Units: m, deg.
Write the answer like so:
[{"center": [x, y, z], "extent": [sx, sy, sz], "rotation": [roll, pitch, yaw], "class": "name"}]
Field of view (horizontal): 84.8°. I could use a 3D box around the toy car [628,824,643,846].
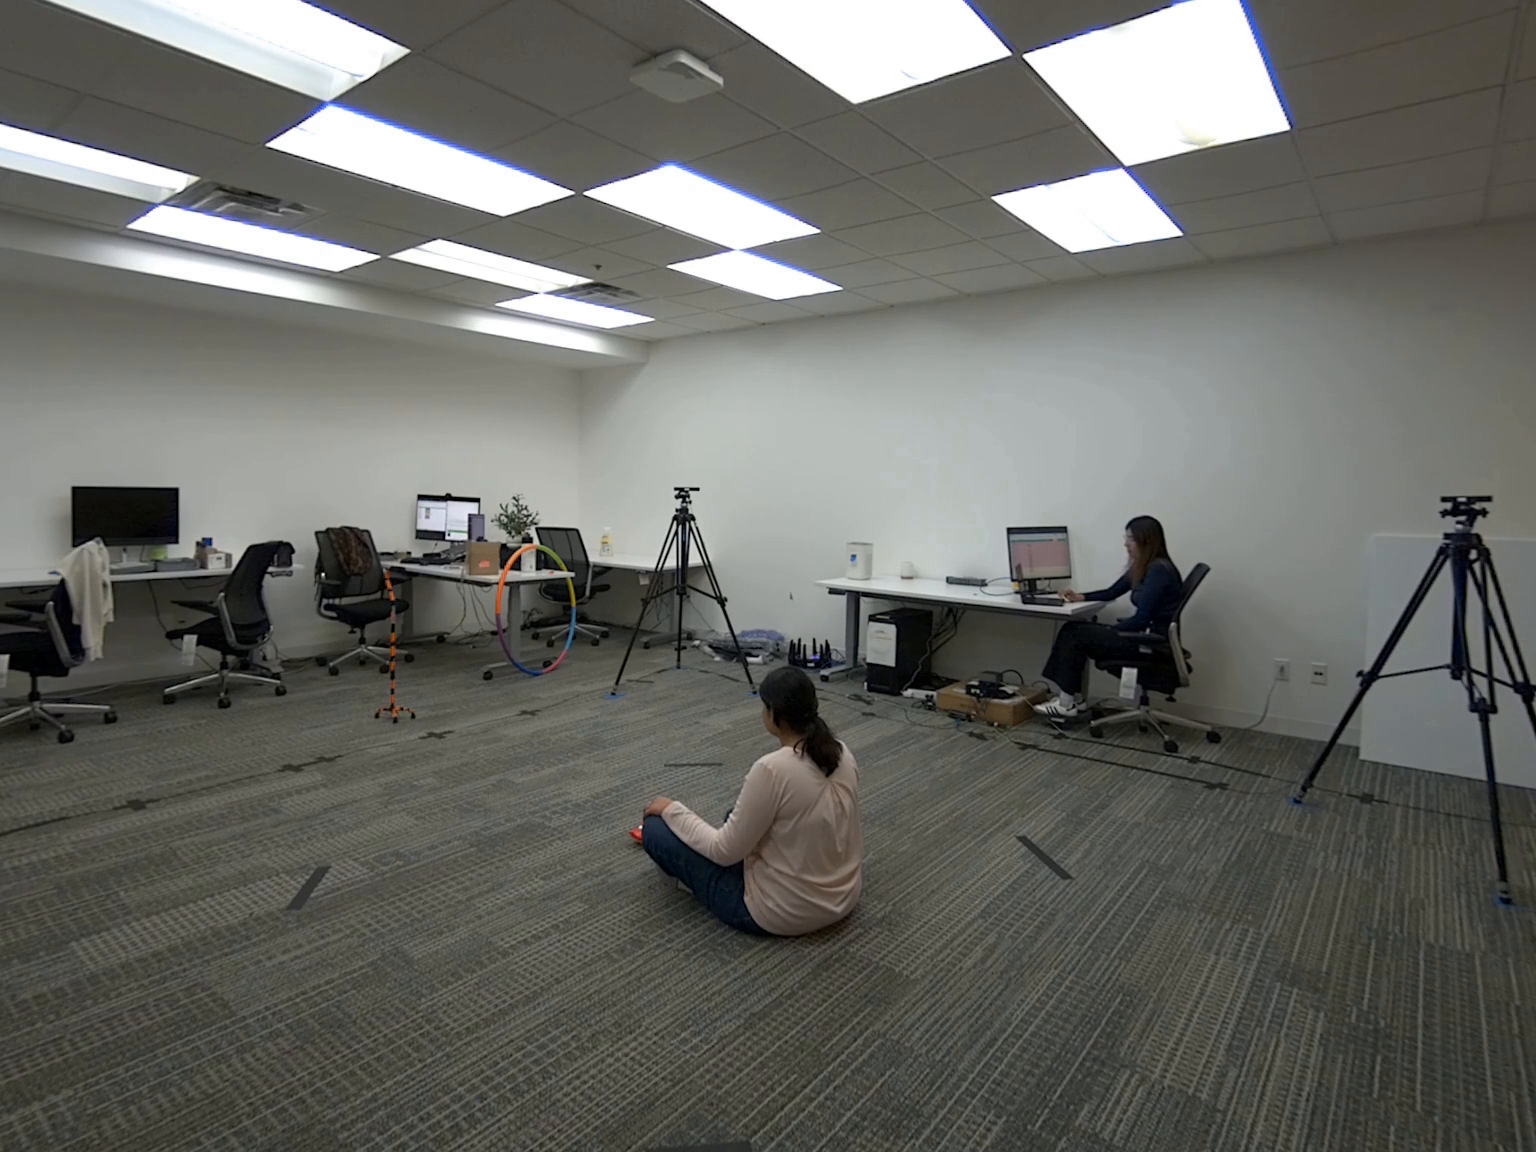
[{"center": [-0.441, 0.996, 3.355], "extent": [0.245, 0.083, 0.135], "rotation": [12, -5, -44], "class": "toy car"}]
